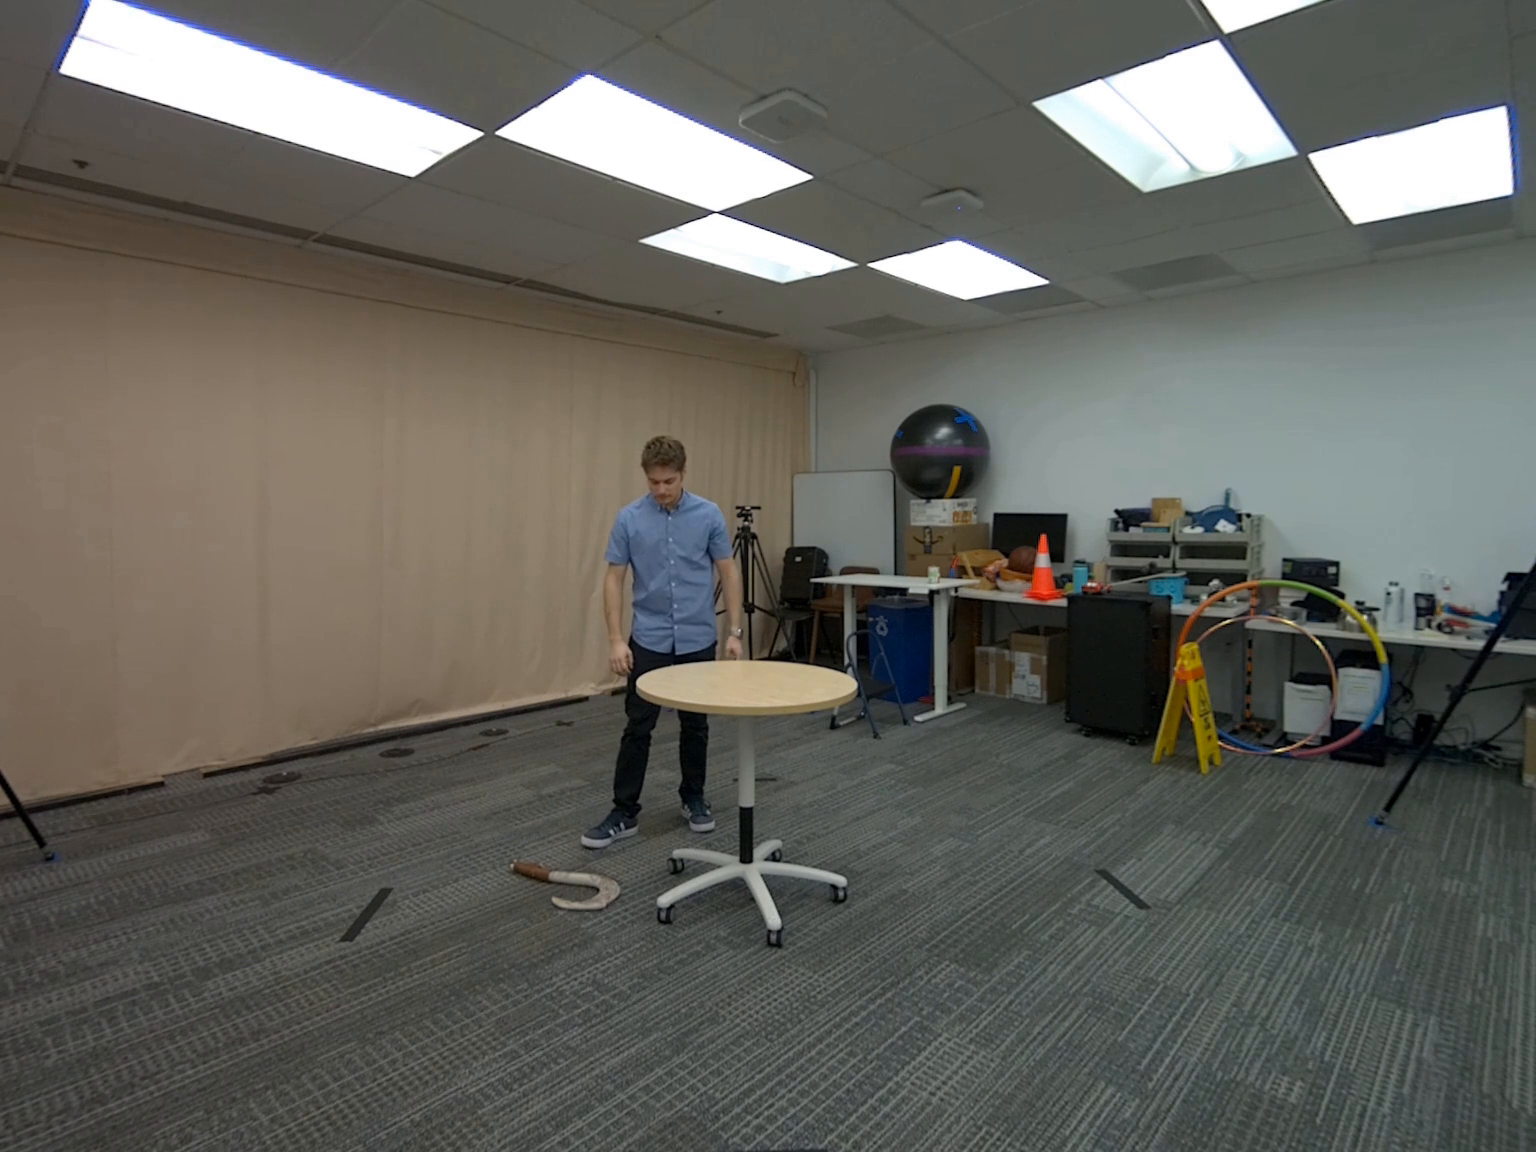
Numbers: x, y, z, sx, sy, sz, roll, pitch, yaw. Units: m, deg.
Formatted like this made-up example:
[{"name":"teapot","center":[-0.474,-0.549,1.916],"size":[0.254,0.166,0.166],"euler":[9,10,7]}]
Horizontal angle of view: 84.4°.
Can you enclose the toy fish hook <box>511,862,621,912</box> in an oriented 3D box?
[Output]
[{"name":"toy fish hook","center":[-0.767,1.121,3.059],"size":[0.520,0.048,0.219],"euler":[1,4,26]}]
